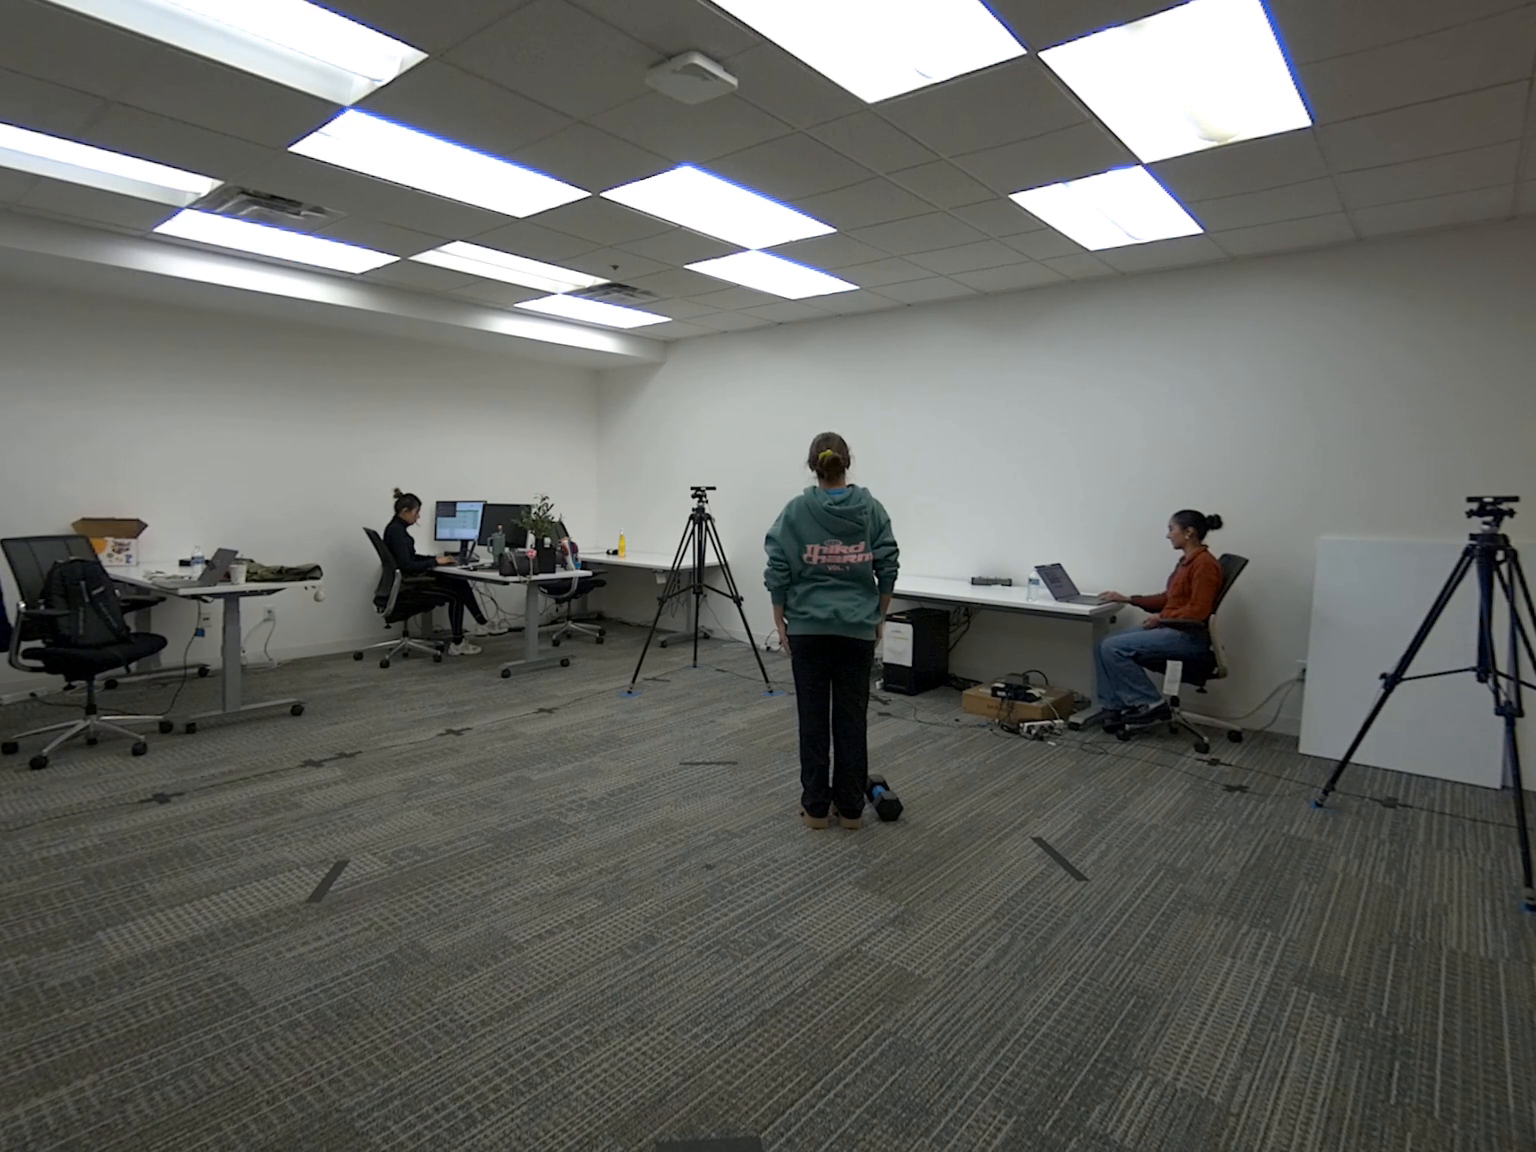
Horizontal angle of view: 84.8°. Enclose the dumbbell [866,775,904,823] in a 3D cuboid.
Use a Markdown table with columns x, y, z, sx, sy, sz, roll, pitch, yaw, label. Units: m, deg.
| x | y | z | sx | sy | sz | roll | pitch | yaw | label |
| --- | --- | --- | --- | --- | --- | --- | --- | --- | --- |
| 0.491 | 0.965 | 3.726 | 0.108 | 0.123 | 0.296 | 30 | 2 | -8 | dumbbell |
